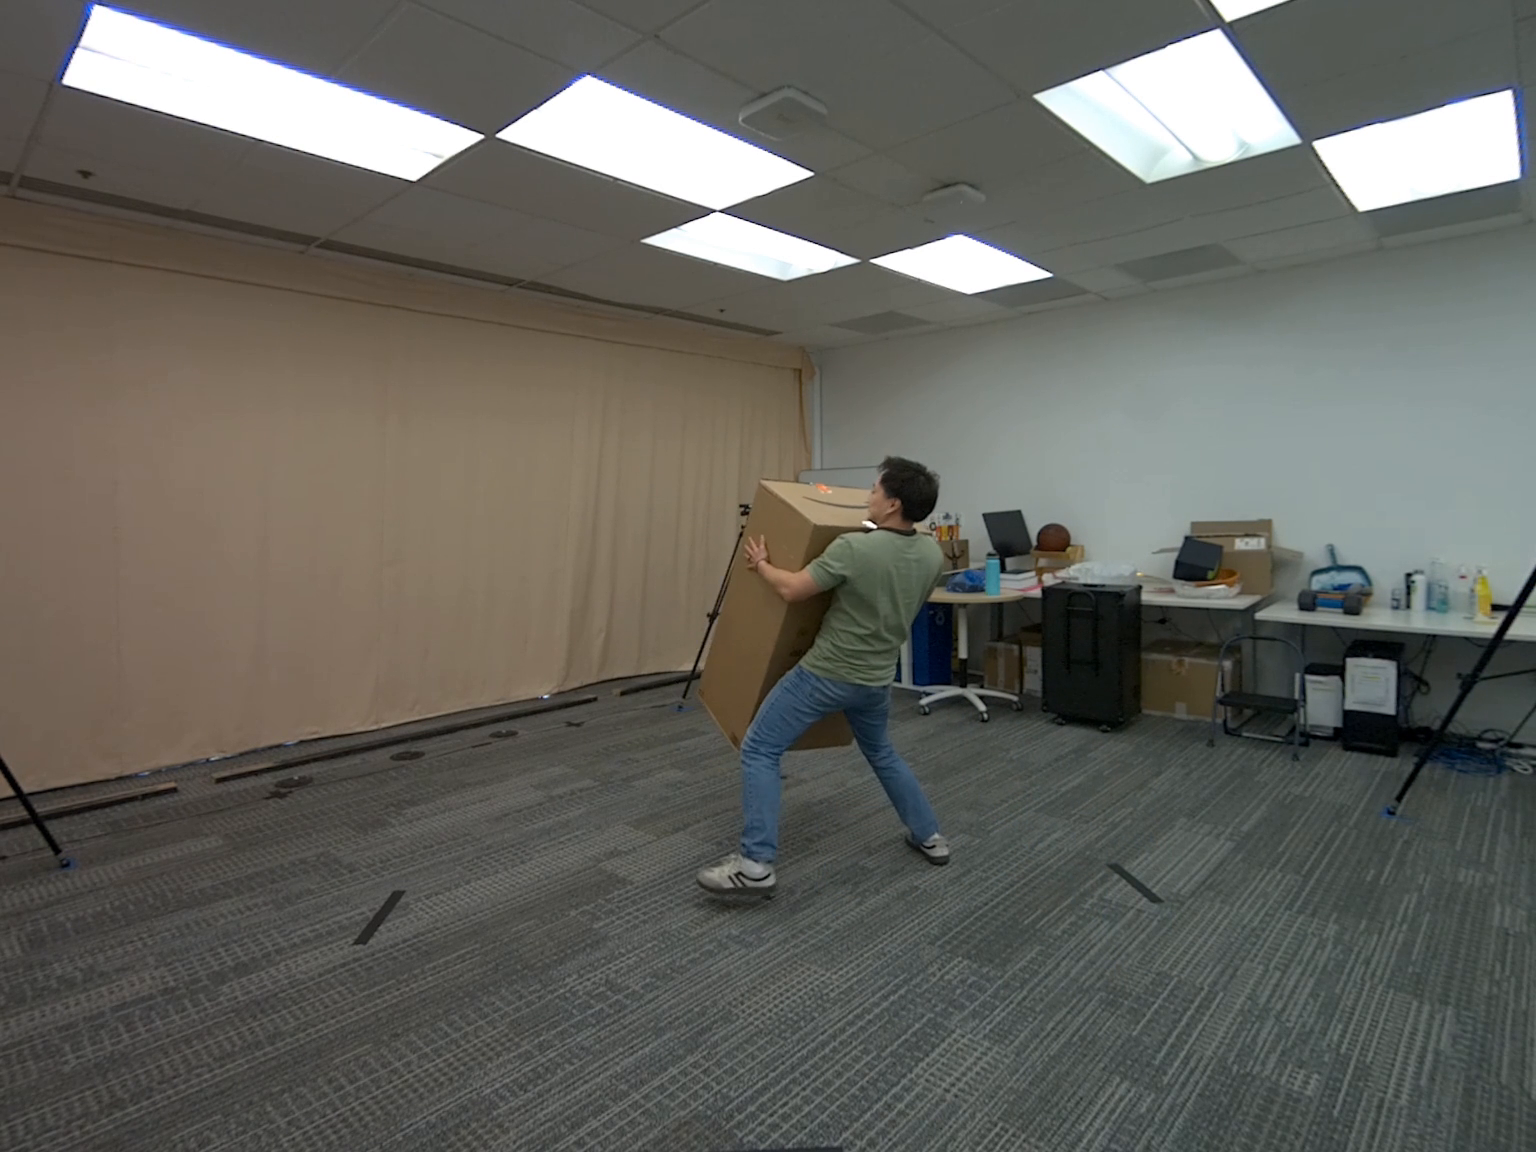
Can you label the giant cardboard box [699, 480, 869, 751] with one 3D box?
[{"bbox_3d":[0.152,0.191,3.457,0.561,1.019,0.441,3,25,-31],"label":"giant cardboard box"}]
